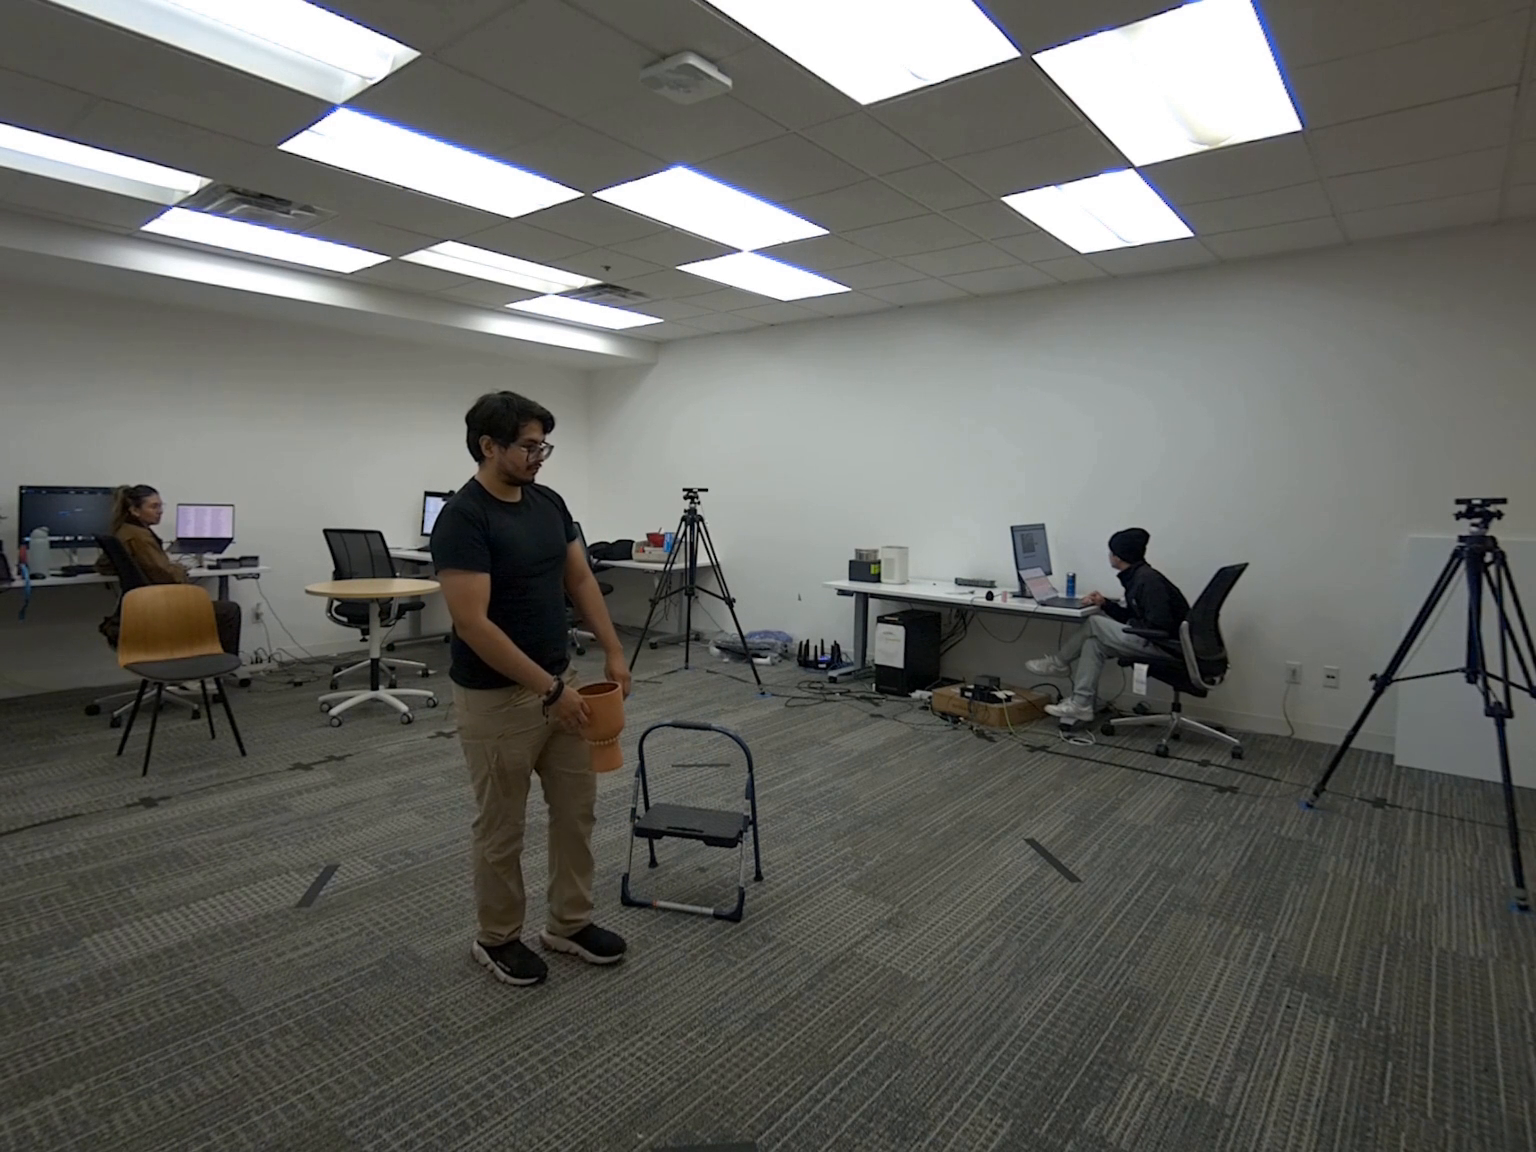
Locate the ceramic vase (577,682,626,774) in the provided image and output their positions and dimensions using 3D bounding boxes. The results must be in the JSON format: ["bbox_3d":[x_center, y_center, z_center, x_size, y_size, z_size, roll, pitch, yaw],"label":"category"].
[{"bbox_3d":[-0.472,0.418,2.332,0.155,0.218,0.138,-8,8,-25],"label":"ceramic vase"}]
